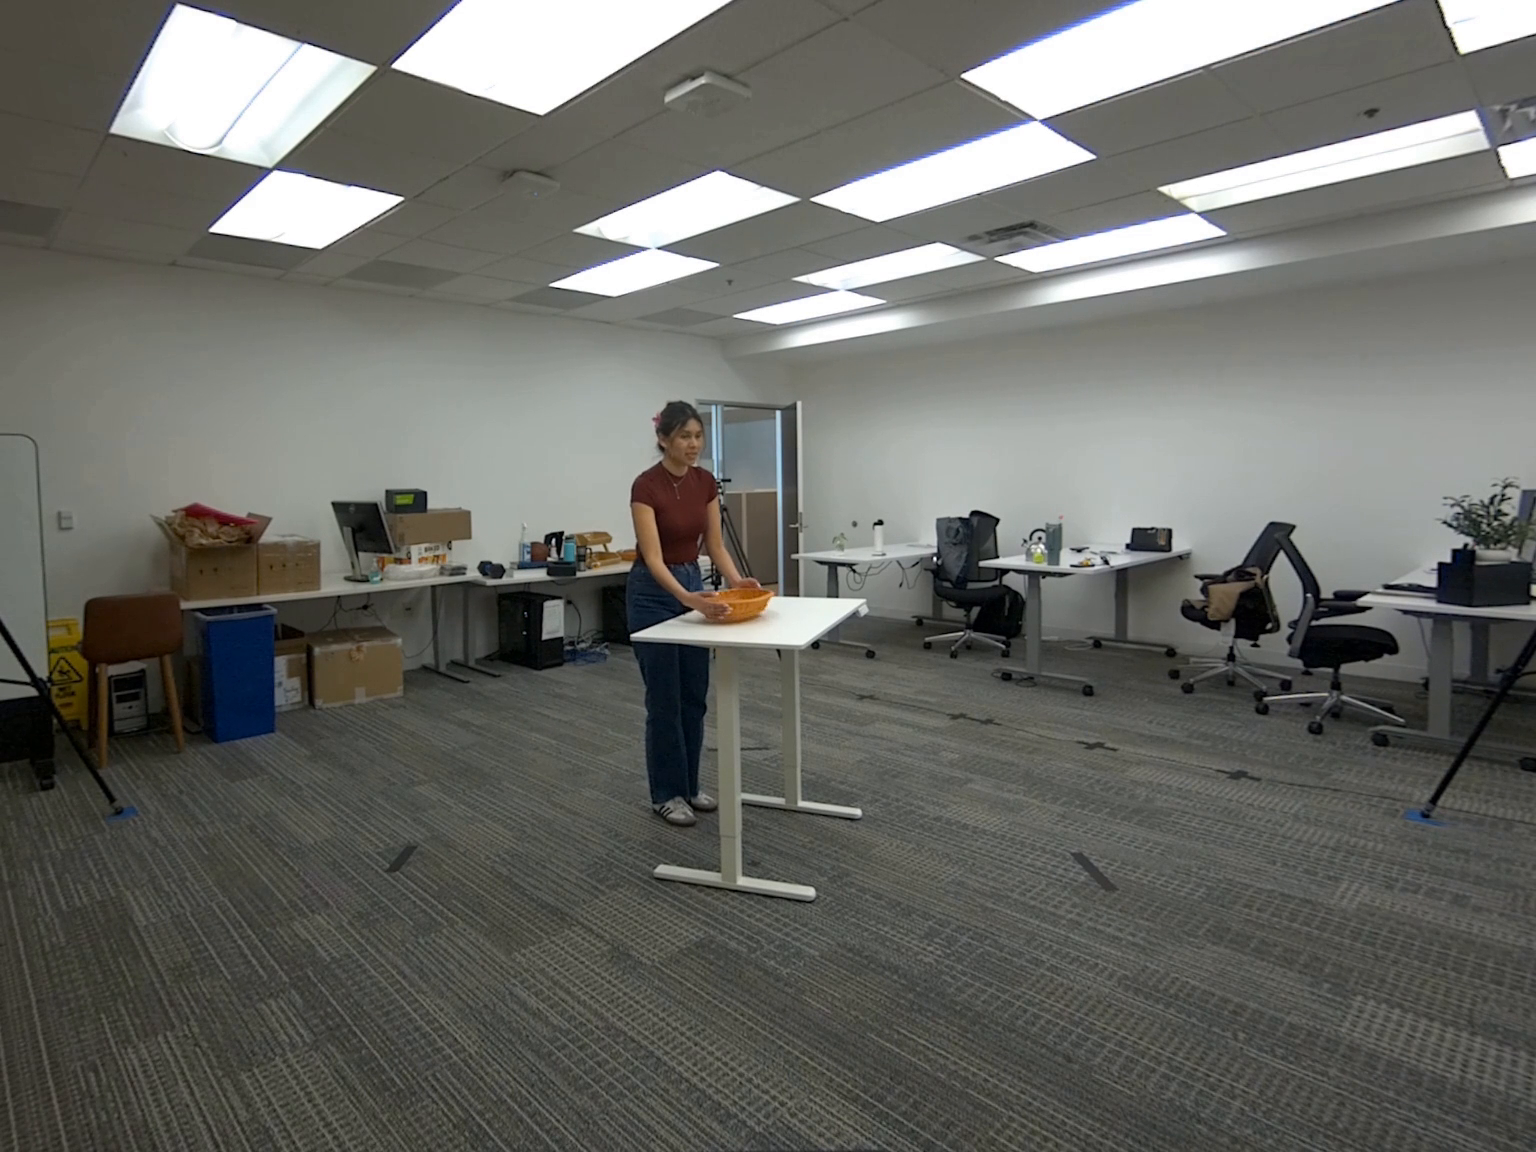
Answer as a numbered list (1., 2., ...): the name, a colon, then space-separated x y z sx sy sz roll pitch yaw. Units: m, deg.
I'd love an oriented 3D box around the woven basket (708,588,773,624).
1. woven basket: -0.130 0.100 3.172 0.259 0.073 0.343 3 8 27
